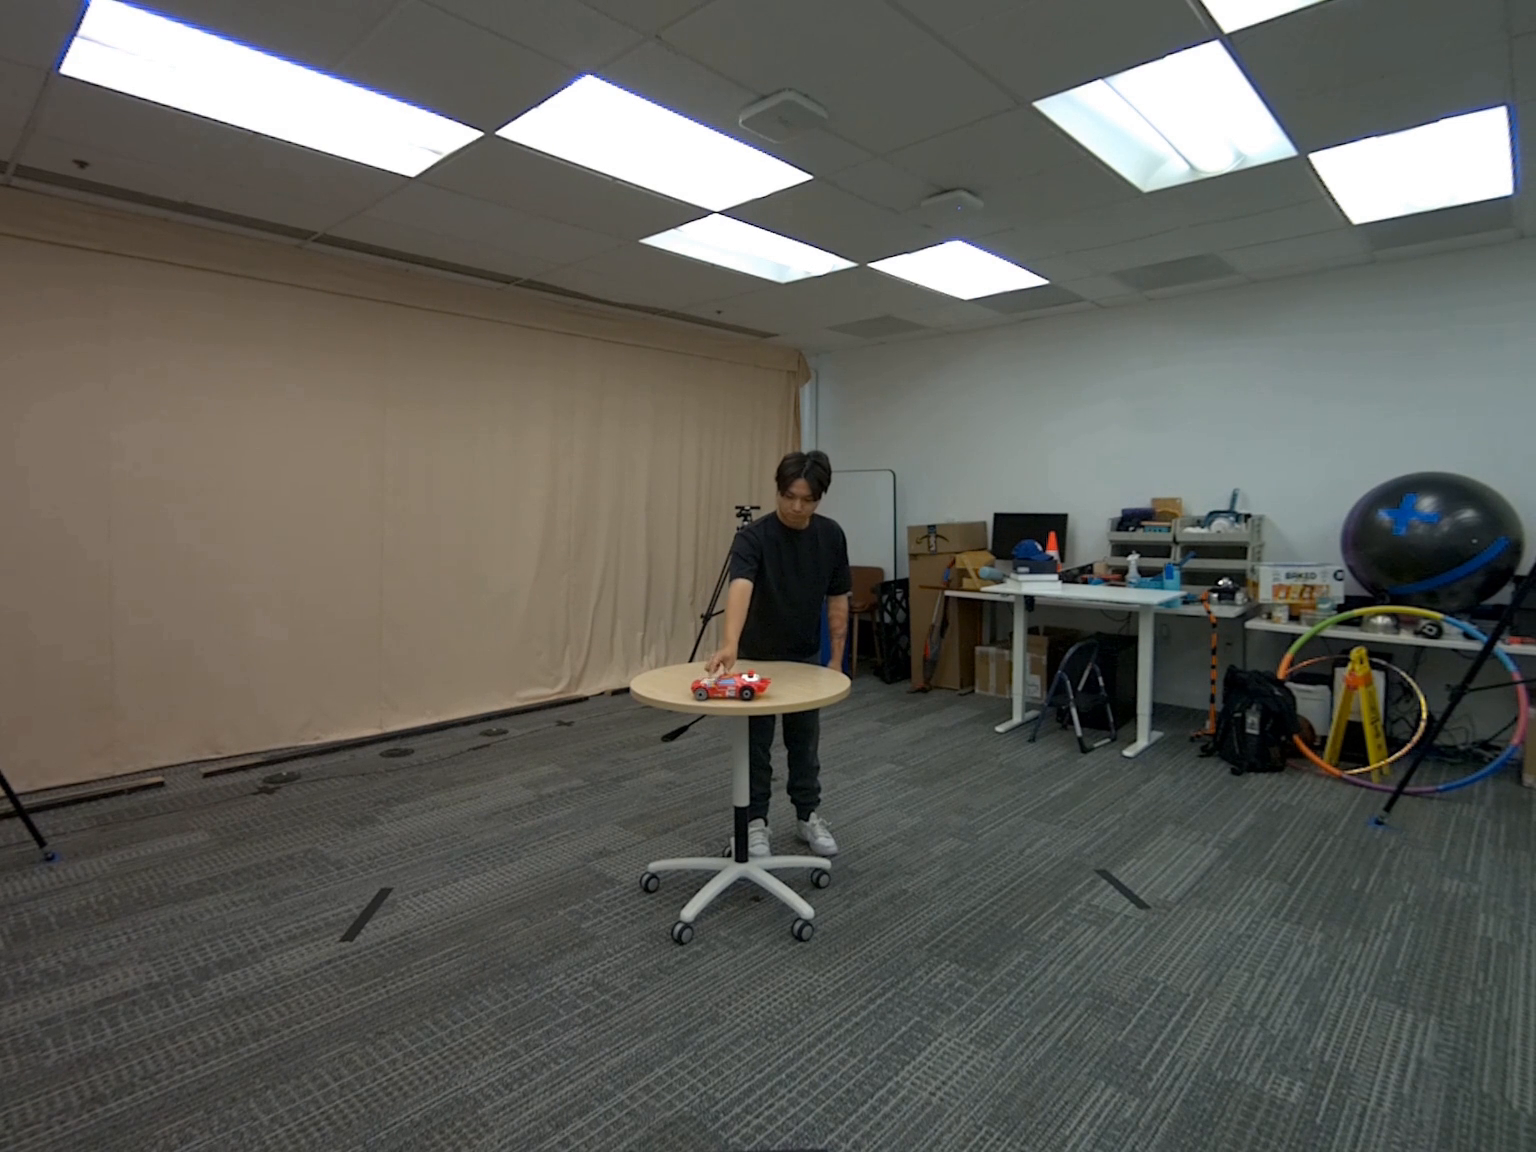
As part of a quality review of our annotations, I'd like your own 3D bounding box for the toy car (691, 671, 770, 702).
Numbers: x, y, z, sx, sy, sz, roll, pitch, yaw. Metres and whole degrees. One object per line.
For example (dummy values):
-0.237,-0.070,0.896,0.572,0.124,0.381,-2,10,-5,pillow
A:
-0.099,0.358,2.676,0.256,0.083,0.130,-13,3,6,toy car
